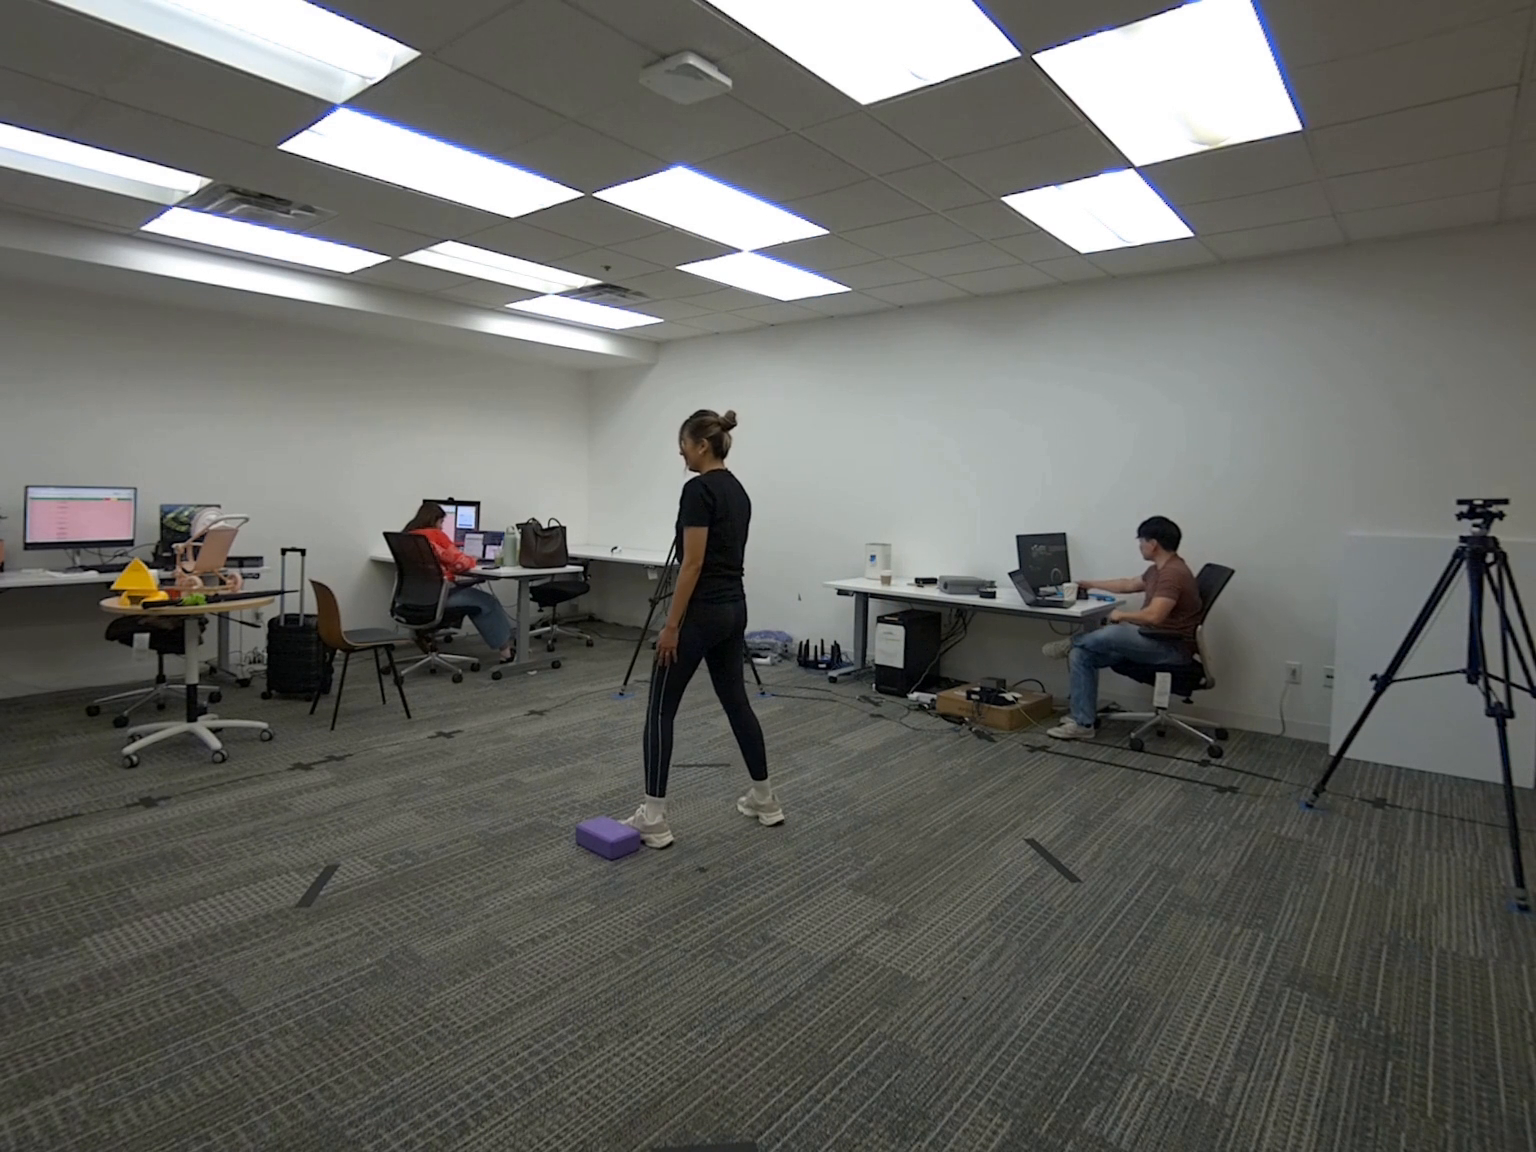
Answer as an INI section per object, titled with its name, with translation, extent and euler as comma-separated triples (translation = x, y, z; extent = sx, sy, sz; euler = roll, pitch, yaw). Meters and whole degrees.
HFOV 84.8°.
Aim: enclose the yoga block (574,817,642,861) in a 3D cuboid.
[yoga block]
translation = -0.630, 1.004, 3.284
extent = 0.237, 0.076, 0.144
euler = 6, 7, 40
